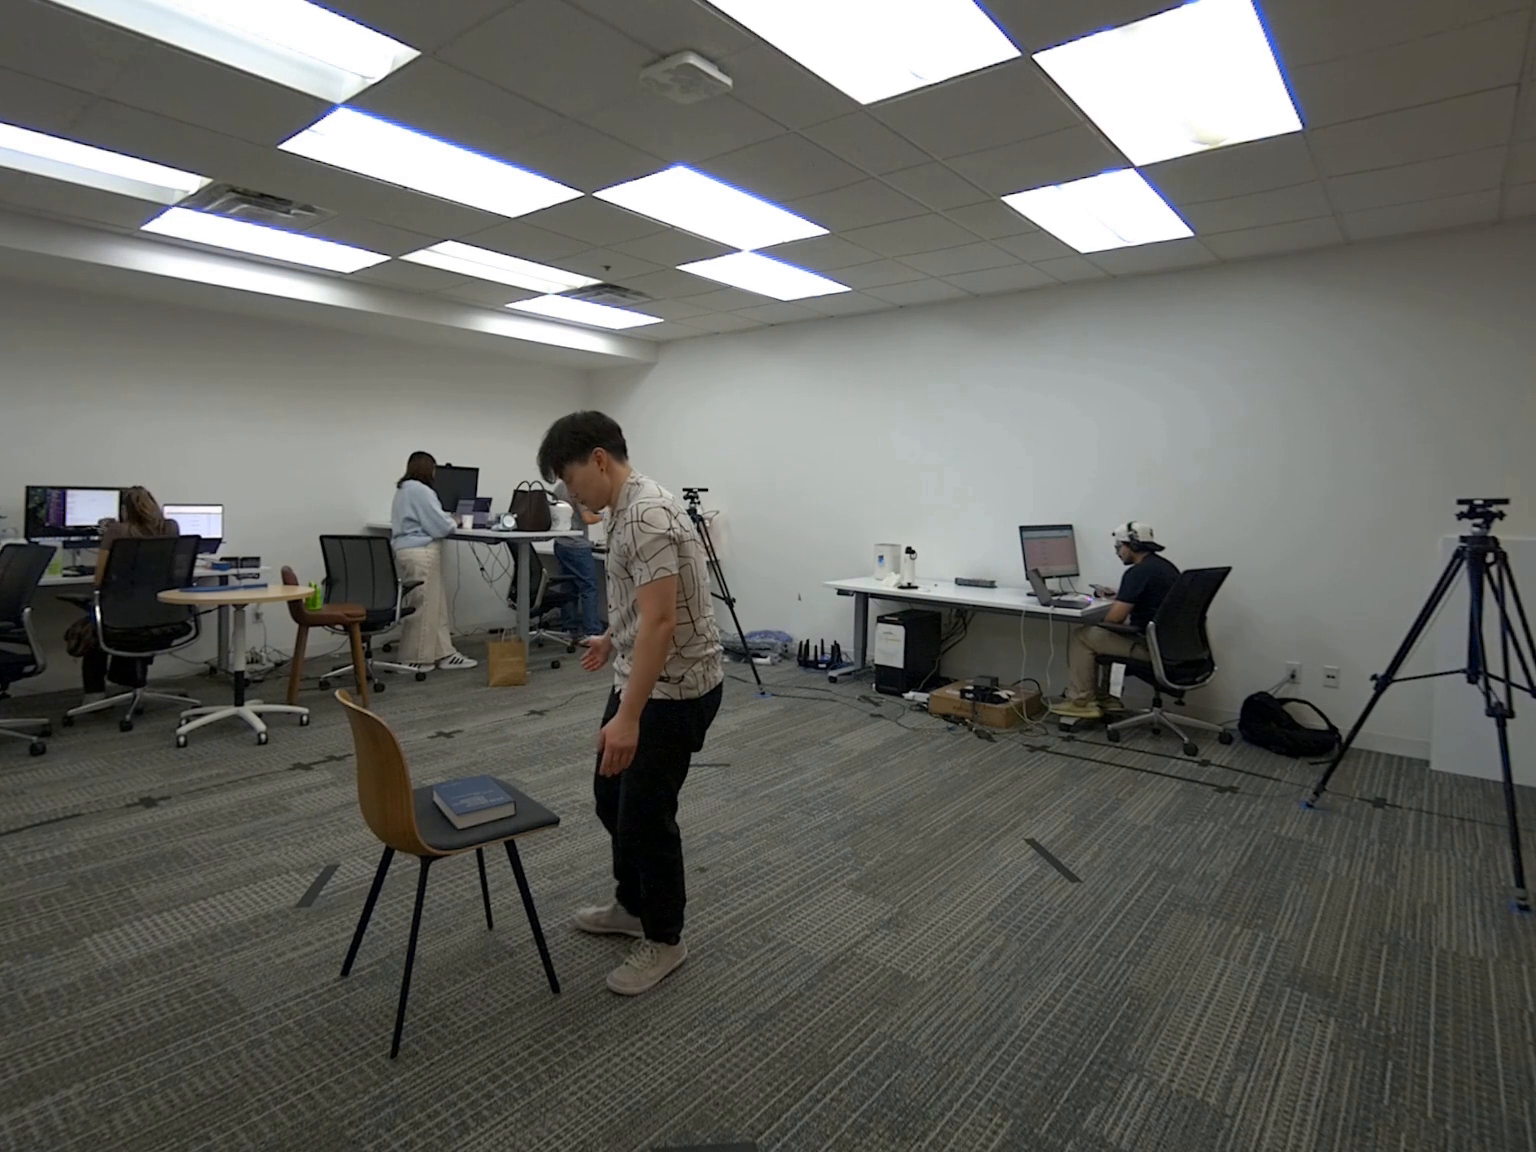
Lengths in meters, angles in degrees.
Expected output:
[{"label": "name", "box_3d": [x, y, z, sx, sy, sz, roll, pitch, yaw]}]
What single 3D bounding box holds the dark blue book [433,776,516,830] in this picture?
[{"label": "dark blue book", "box_3d": [-0.843, 0.627, 2.386, 0.159, 0.045, 0.253, -6, 9, -35]}]
